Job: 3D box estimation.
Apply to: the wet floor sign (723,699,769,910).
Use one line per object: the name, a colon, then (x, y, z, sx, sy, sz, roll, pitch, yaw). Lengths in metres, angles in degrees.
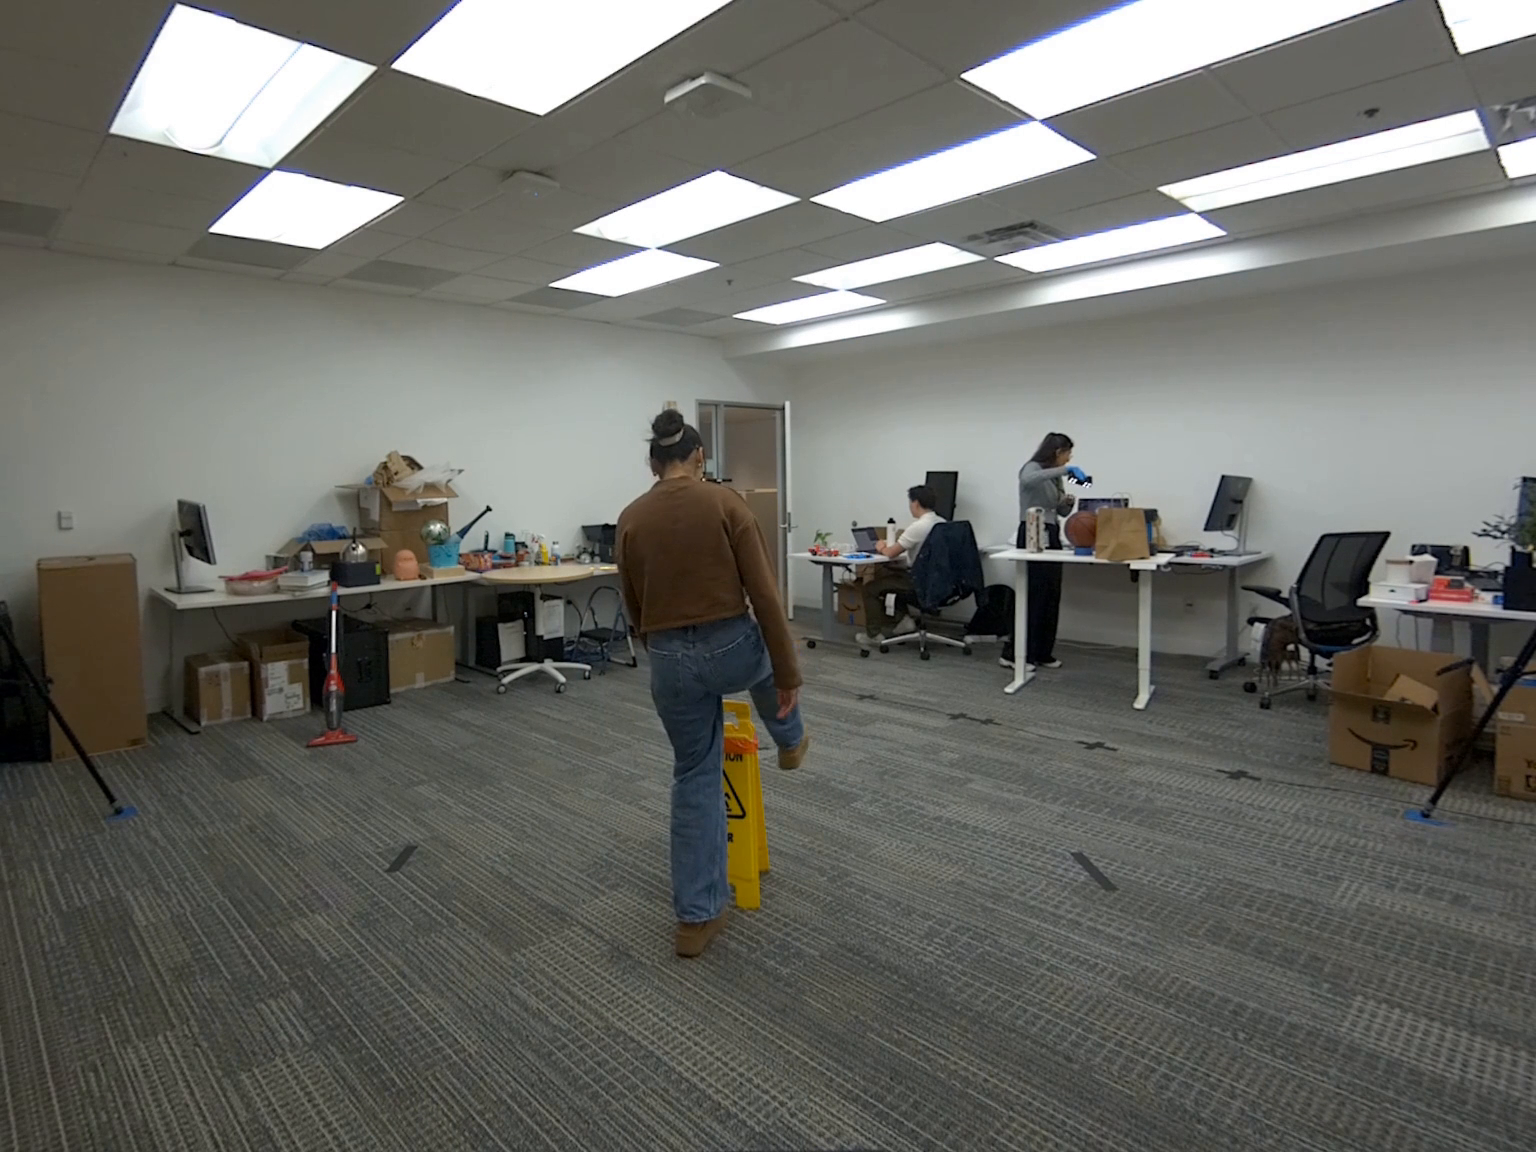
wet floor sign: (-0.145, 0.754, 2.910, 0.285, 0.643, 0.288, 0, 5, 9)
